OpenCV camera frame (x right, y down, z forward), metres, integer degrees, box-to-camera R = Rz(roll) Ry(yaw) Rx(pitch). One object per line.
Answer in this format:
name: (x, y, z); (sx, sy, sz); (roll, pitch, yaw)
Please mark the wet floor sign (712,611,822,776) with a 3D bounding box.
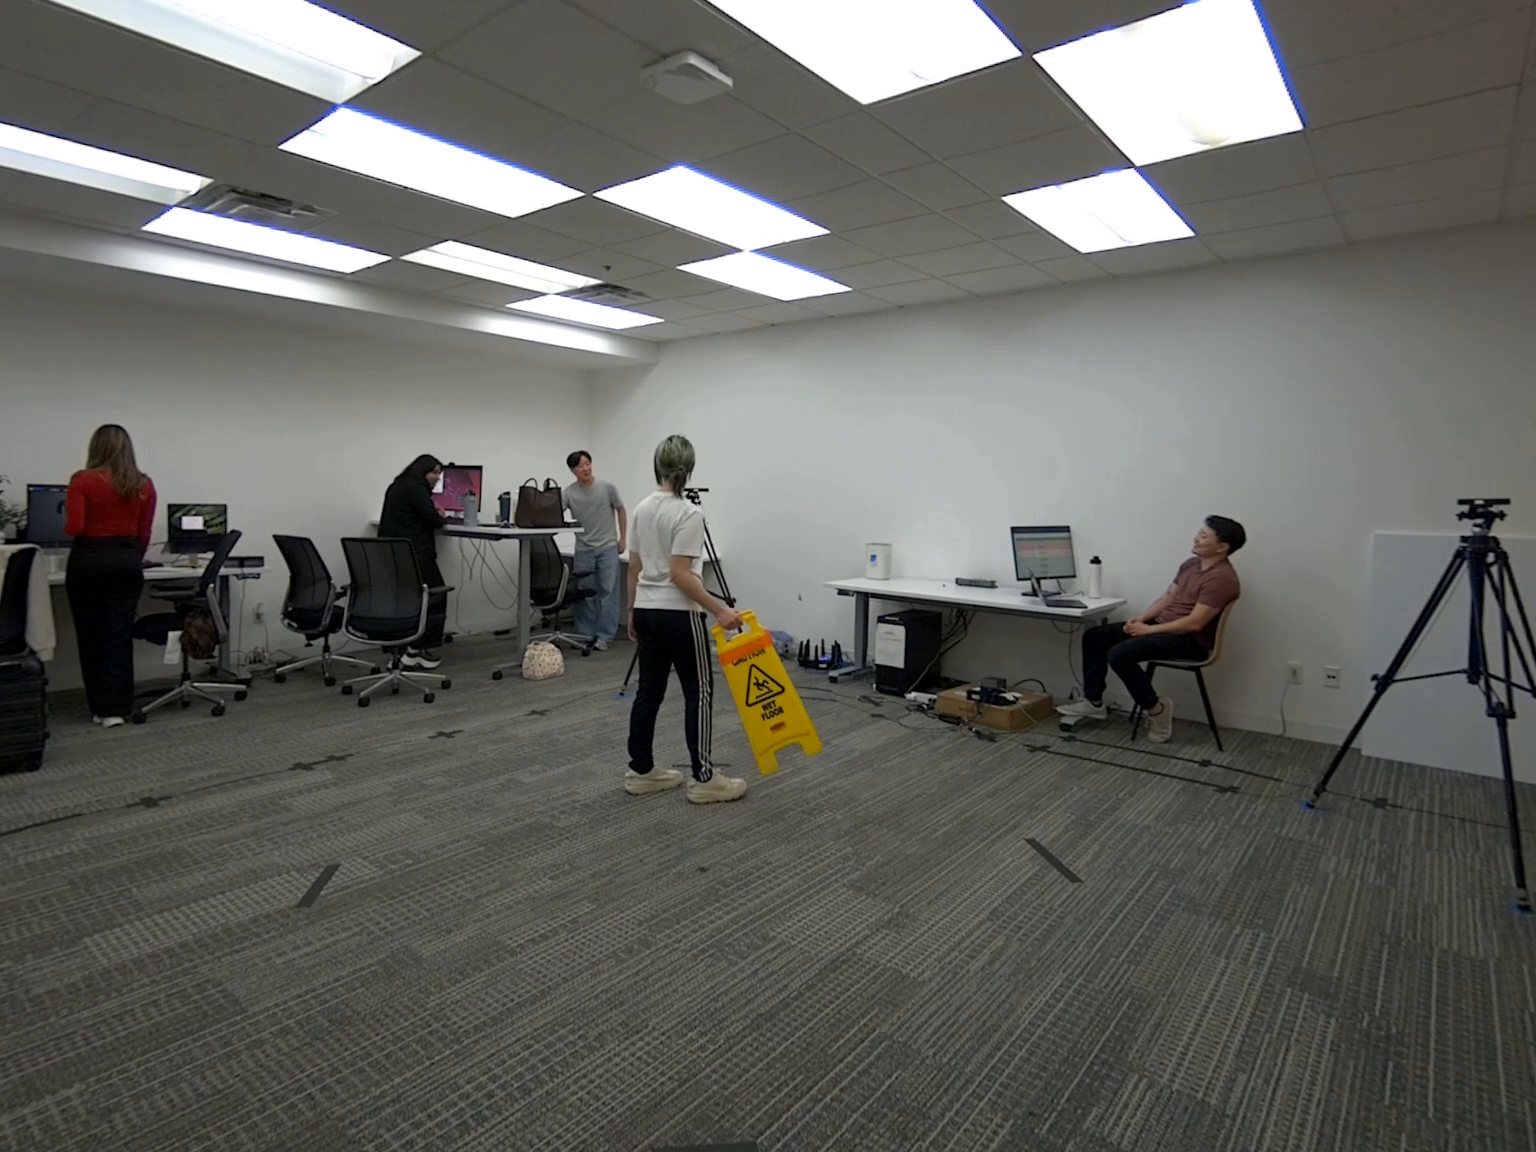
wet floor sign: (-0.040, 0.478, 3.686); (0.282, 0.645, 0.290); (-22, 2, -1)
